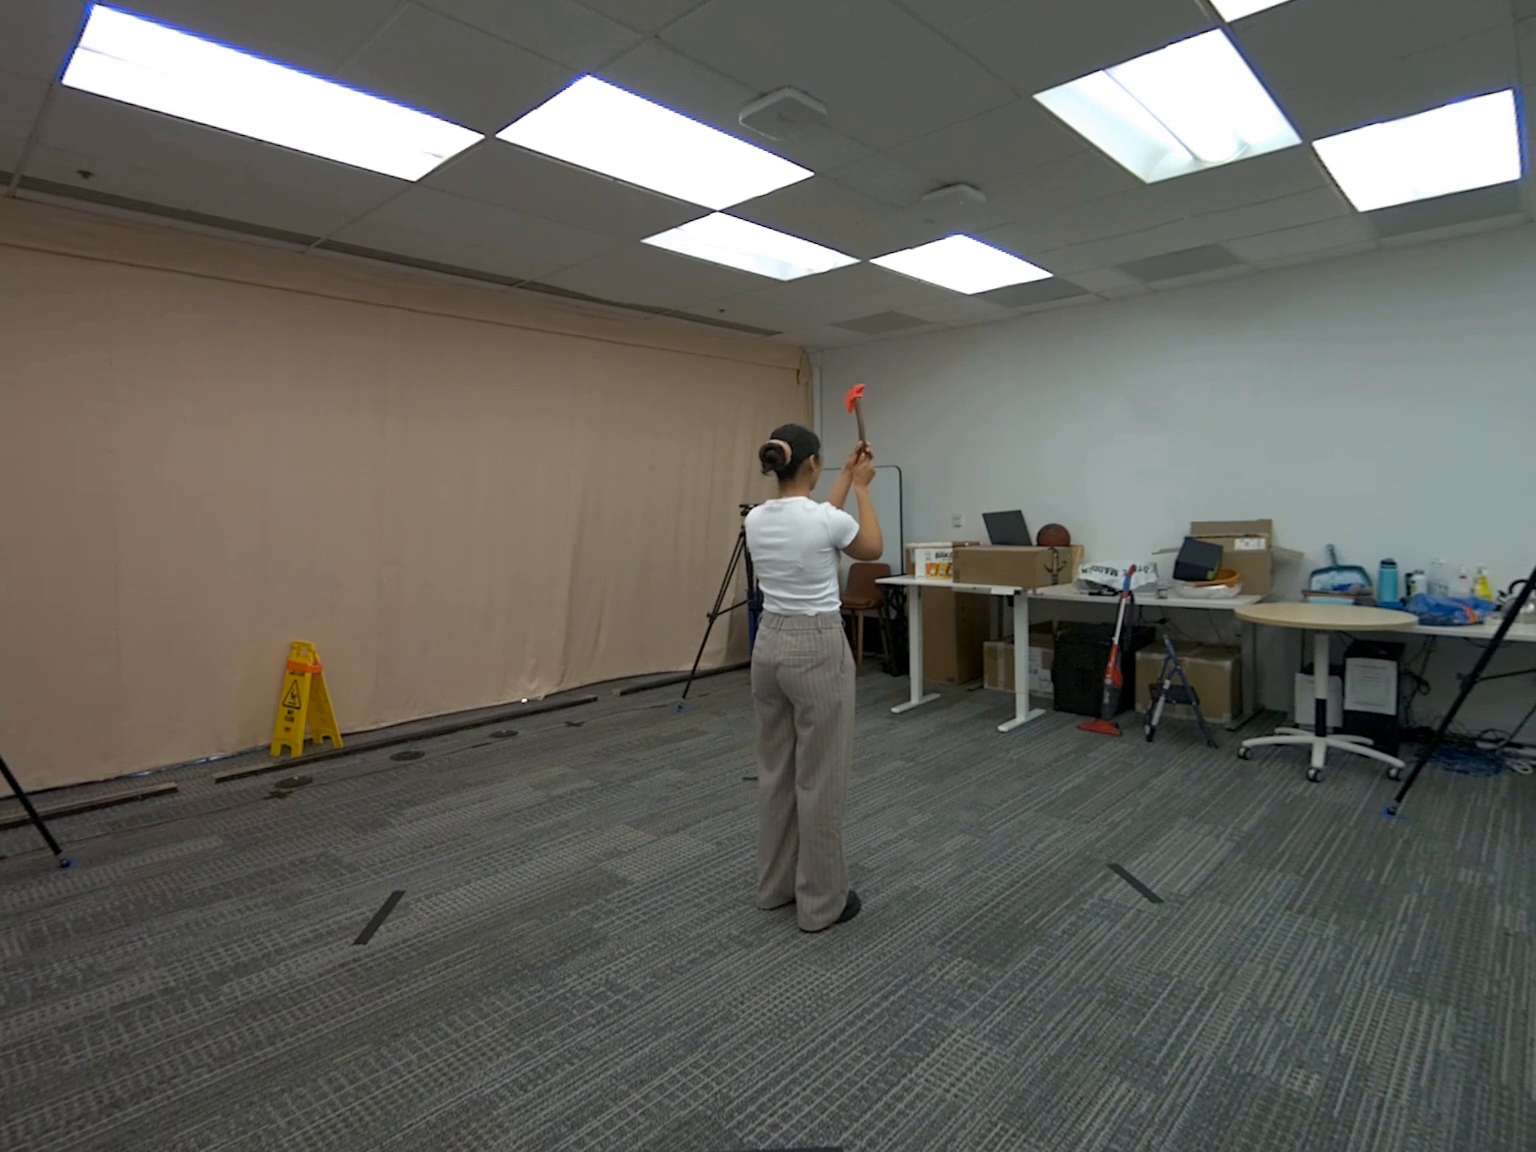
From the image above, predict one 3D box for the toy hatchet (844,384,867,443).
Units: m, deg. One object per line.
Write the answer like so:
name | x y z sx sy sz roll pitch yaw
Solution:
toy hatchet | 0.306 -0.542 2.991 0.029 0.269 0.134 -5 4 -24
